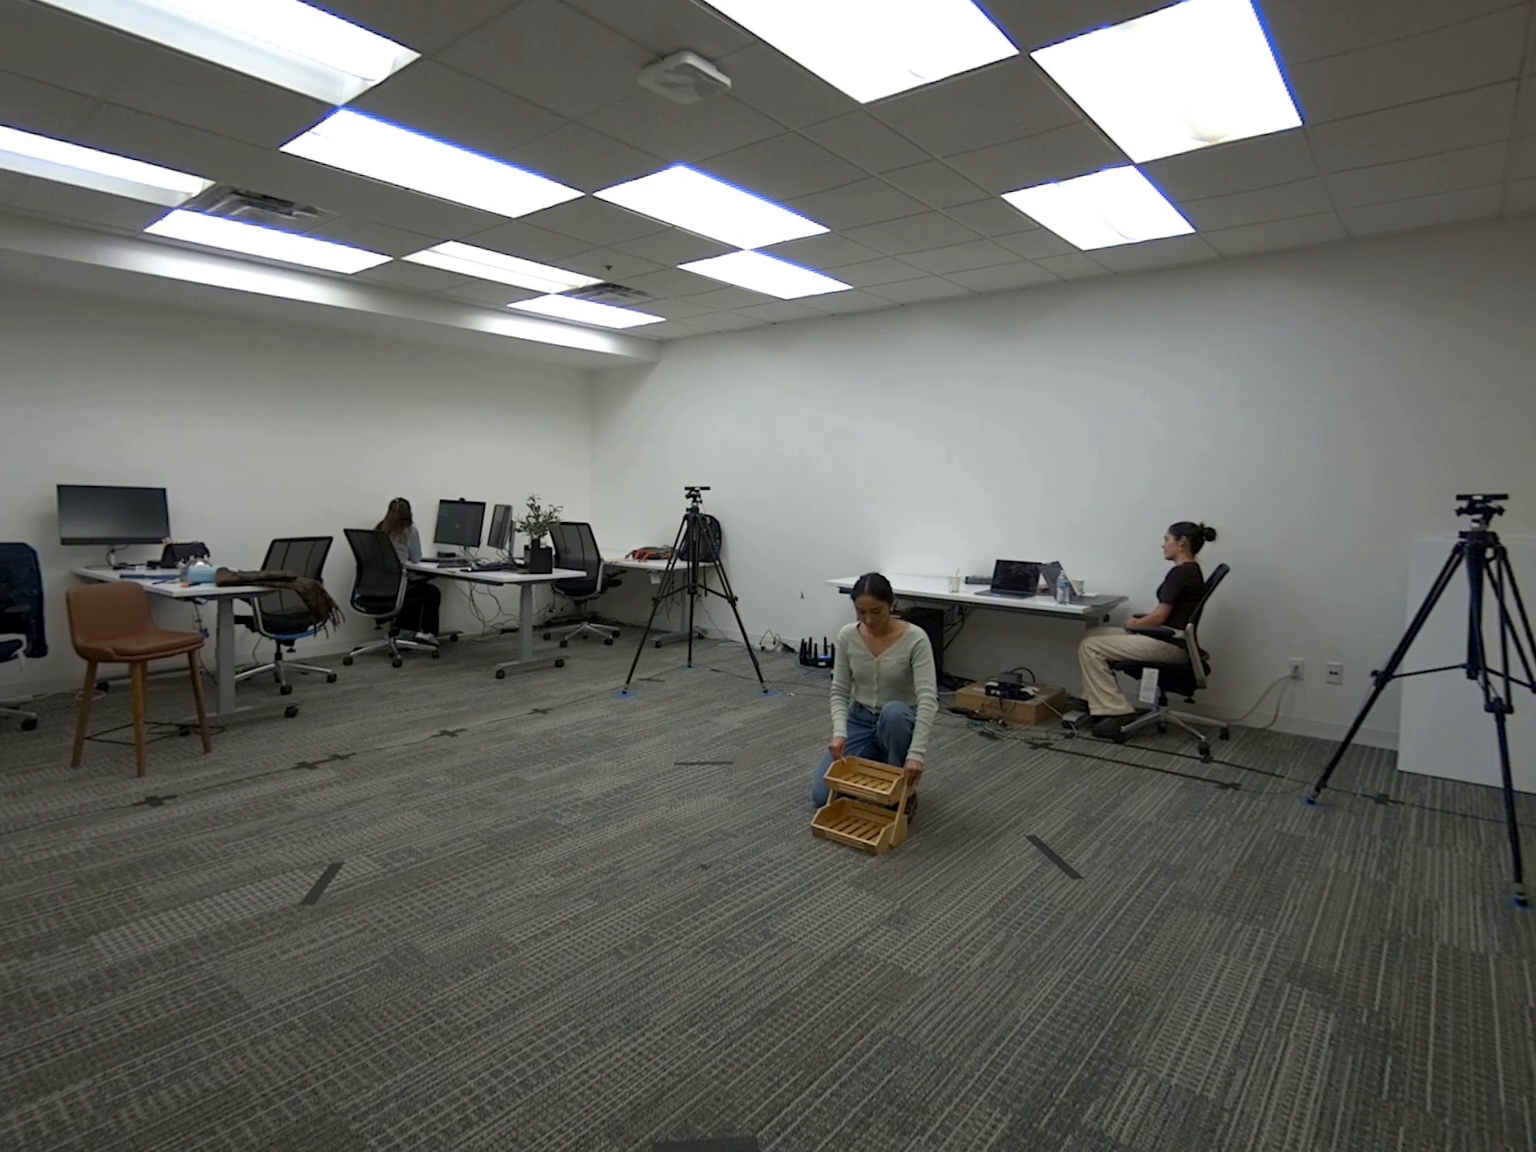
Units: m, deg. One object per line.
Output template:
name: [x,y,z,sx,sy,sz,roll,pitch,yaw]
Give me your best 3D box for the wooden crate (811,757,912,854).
wooden crate: [0.373,0.907,3.425,0.335,0.272,0.293,5,5,37]
